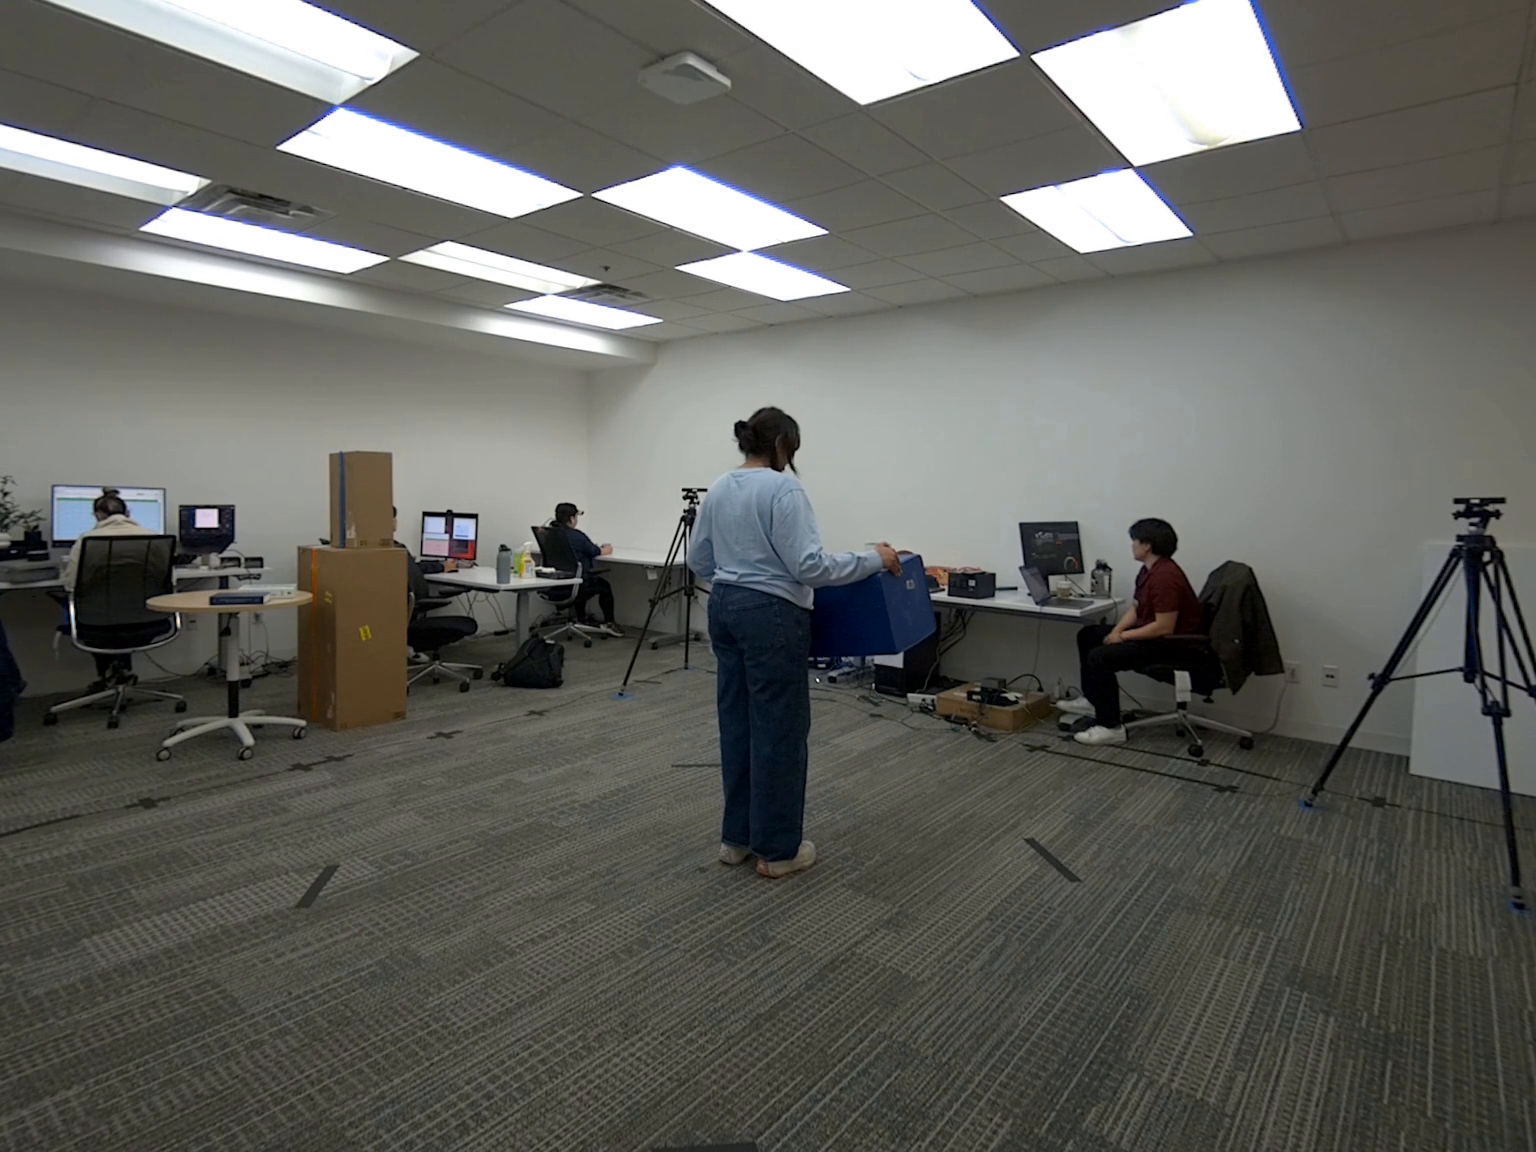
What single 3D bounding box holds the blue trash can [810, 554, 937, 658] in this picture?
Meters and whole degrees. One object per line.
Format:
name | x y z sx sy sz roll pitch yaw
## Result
blue trash can | 0.241 0.110 3.353 0.734 0.371 0.370 -5 11 42
